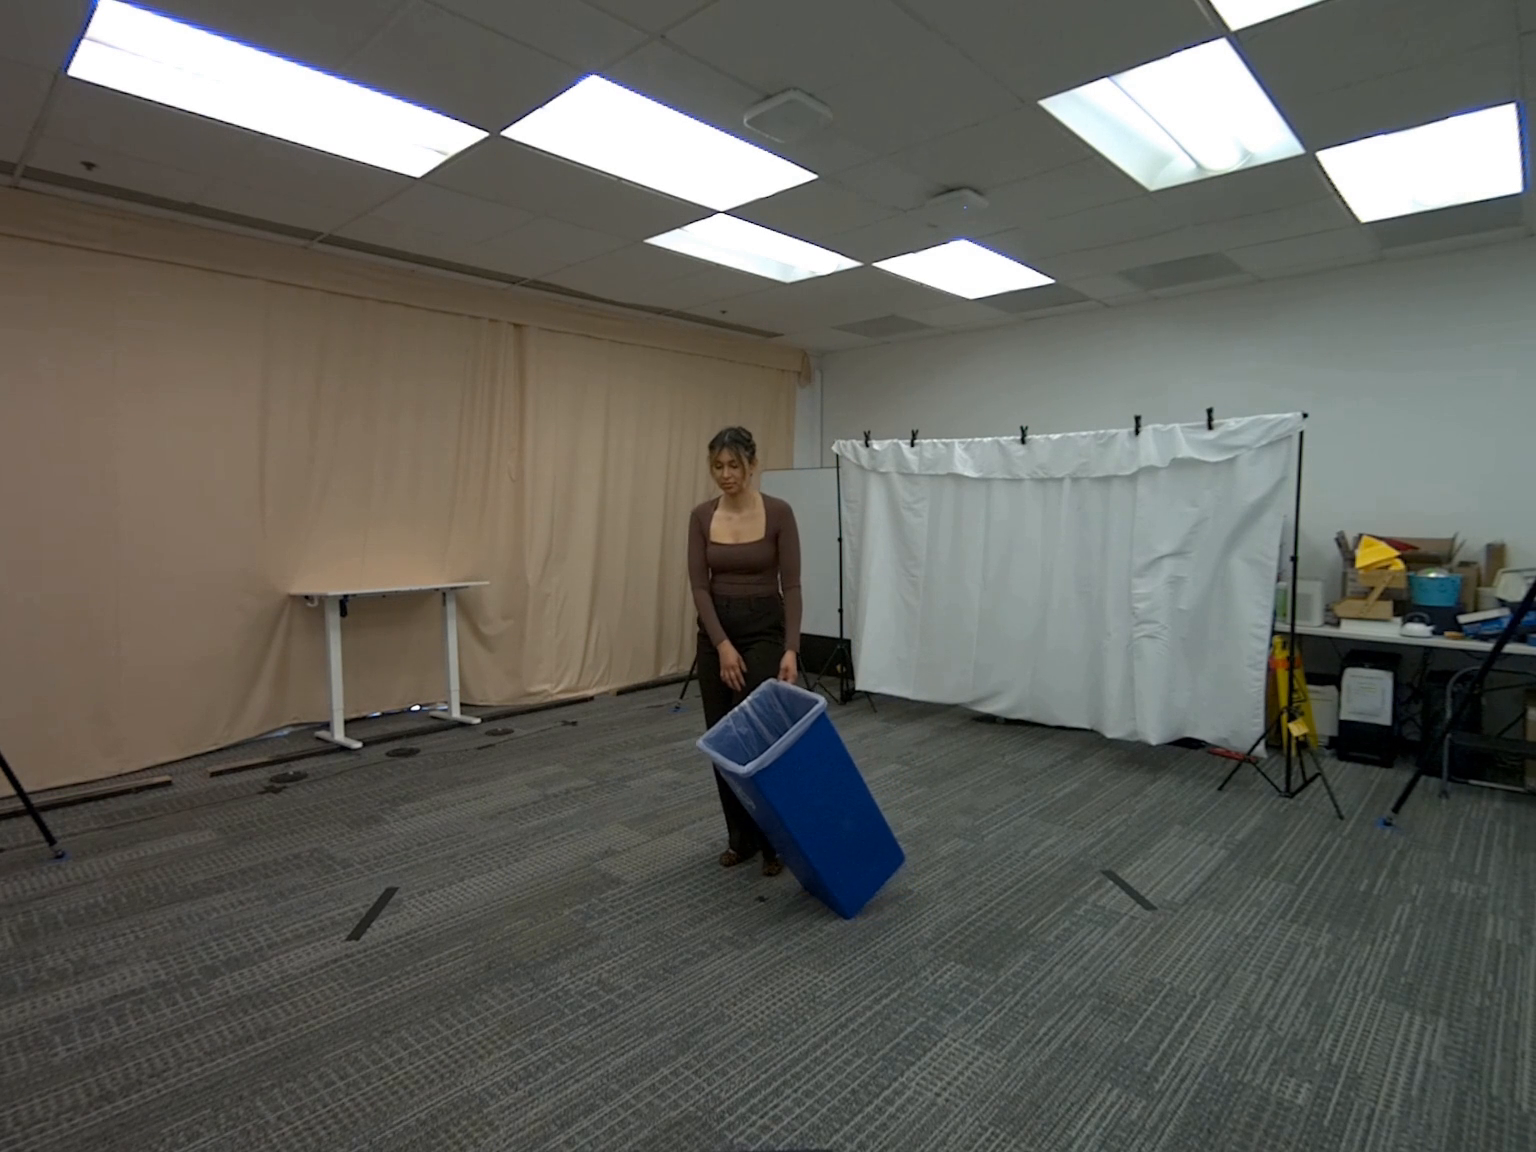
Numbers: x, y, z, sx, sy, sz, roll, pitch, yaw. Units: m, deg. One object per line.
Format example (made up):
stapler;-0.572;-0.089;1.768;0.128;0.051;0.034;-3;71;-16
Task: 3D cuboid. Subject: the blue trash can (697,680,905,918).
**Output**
blue trash can;0.146;0.769;2.897;0.374;0.700;0.384;-39;19;-22
